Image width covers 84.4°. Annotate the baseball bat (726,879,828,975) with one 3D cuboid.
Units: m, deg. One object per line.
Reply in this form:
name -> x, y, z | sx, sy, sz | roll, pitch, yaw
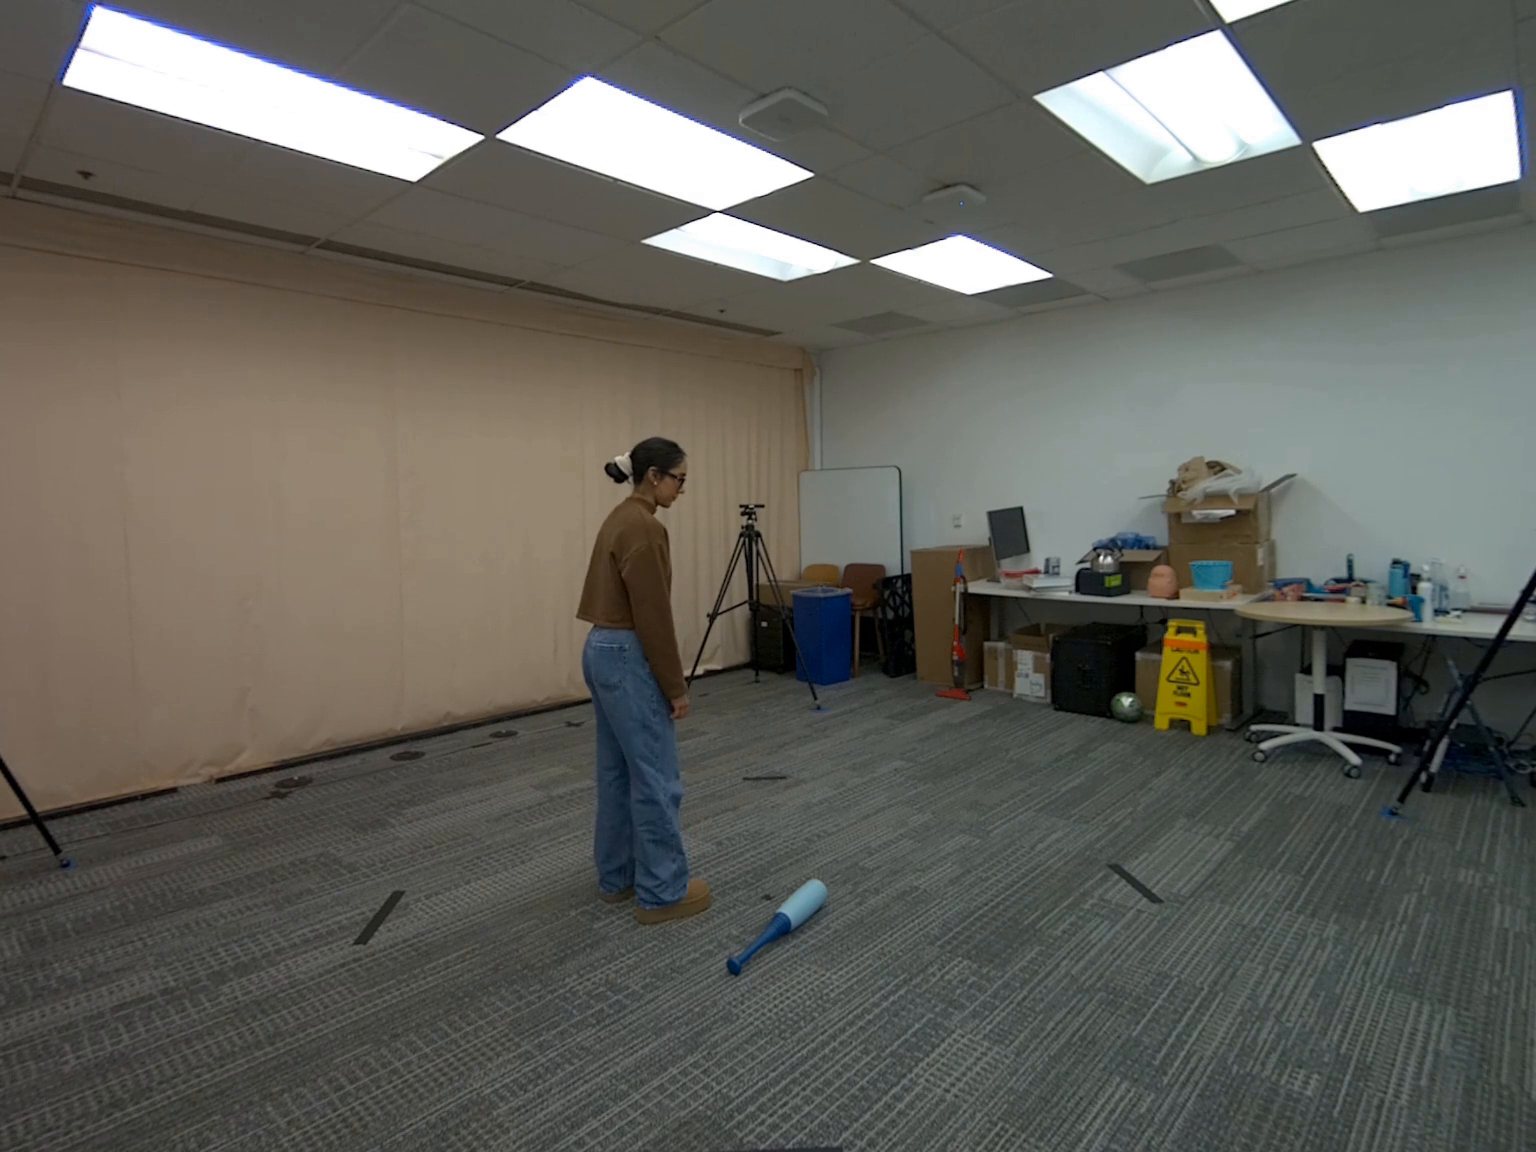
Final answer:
baseball bat -> 0.041, 1.130, 2.708 | 0.092, 0.089, 0.529 | 2, 8, 33
